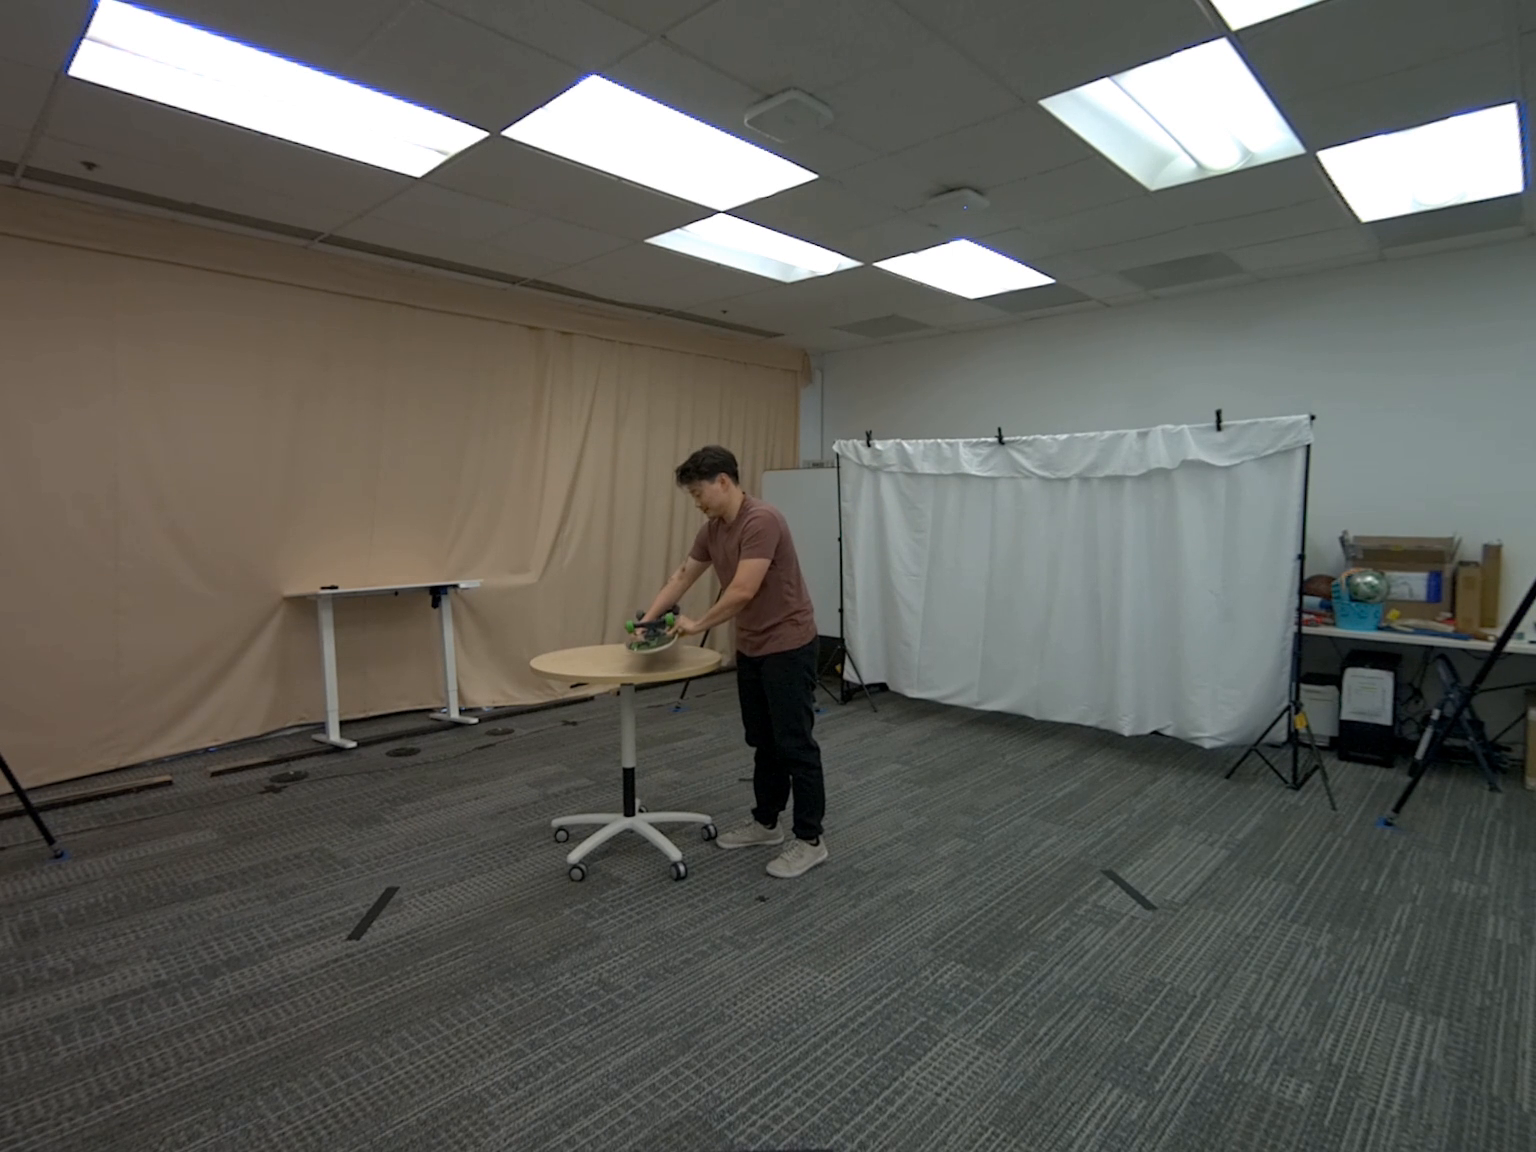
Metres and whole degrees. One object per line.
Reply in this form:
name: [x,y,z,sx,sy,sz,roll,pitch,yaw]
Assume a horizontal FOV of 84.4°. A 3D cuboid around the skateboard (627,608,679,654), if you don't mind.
skateboard: [-0.445,0.207,3.405,0.193,0.110,0.788,-12,4,-3]
